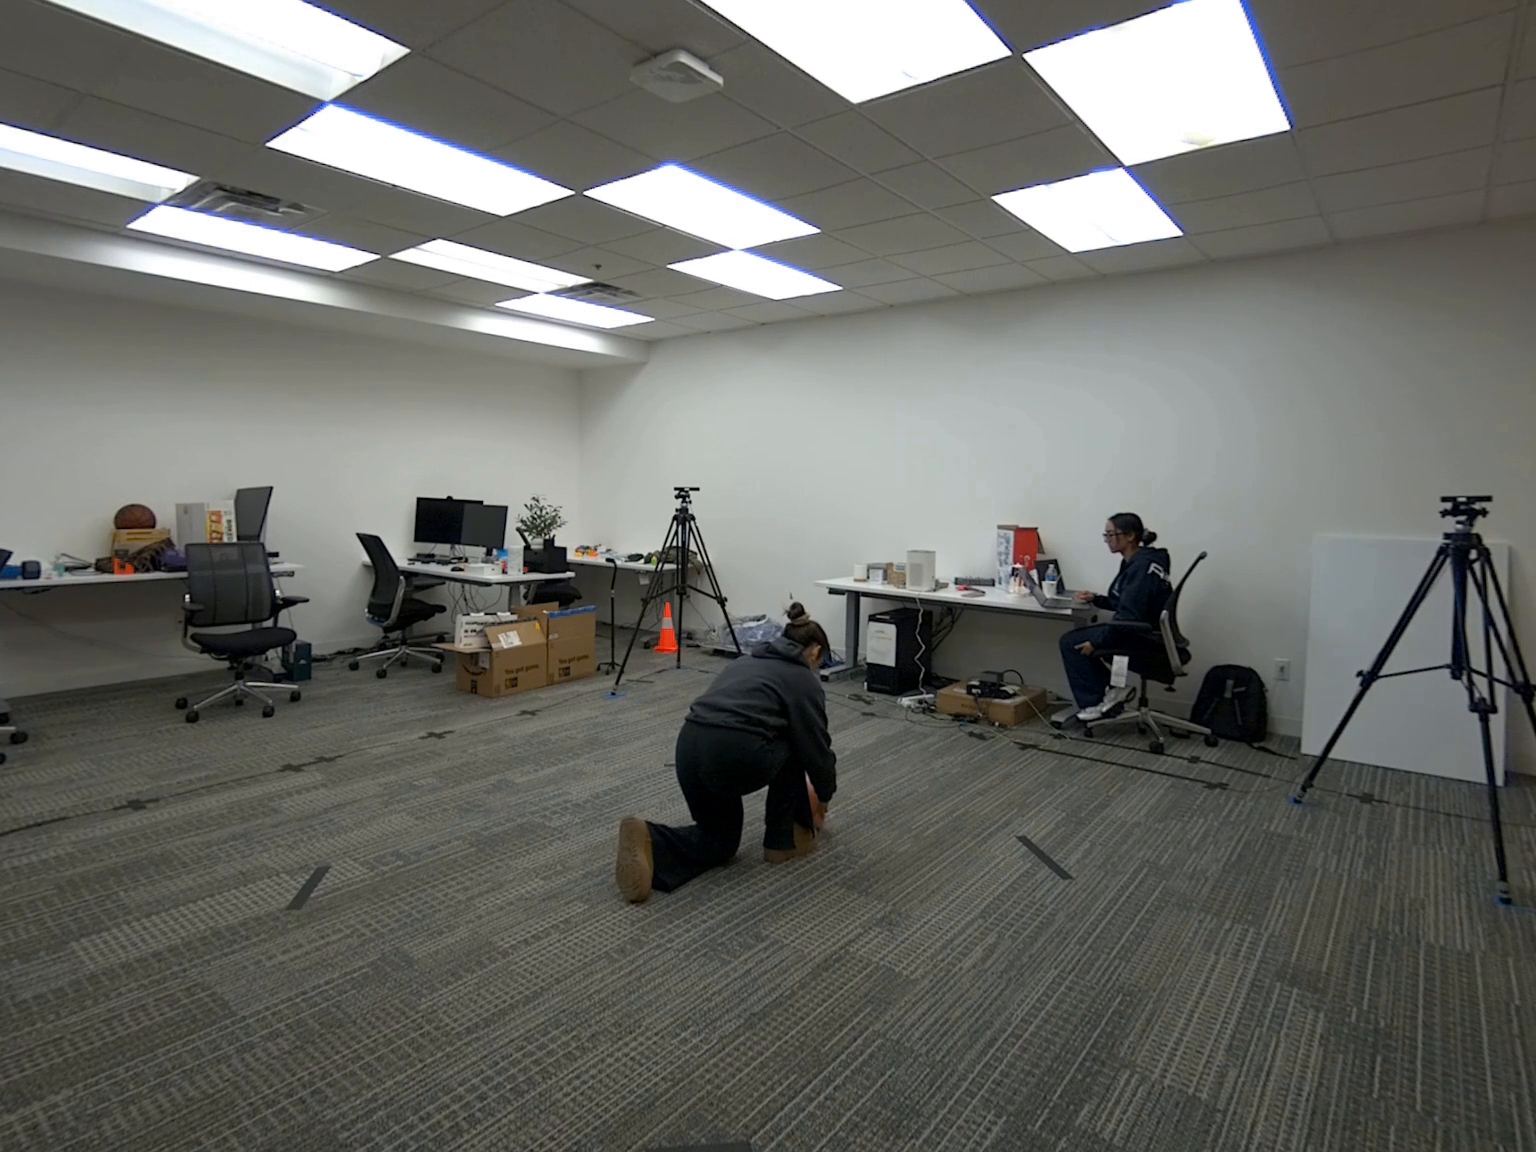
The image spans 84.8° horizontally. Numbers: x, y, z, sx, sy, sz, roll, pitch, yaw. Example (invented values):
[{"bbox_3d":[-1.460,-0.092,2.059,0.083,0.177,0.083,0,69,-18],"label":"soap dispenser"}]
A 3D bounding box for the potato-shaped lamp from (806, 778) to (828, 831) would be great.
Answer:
[{"bbox_3d":[0.163,0.914,3.491,0.166,0.198,0.170,3,3,-43],"label":"potato-shaped lamp"}]
